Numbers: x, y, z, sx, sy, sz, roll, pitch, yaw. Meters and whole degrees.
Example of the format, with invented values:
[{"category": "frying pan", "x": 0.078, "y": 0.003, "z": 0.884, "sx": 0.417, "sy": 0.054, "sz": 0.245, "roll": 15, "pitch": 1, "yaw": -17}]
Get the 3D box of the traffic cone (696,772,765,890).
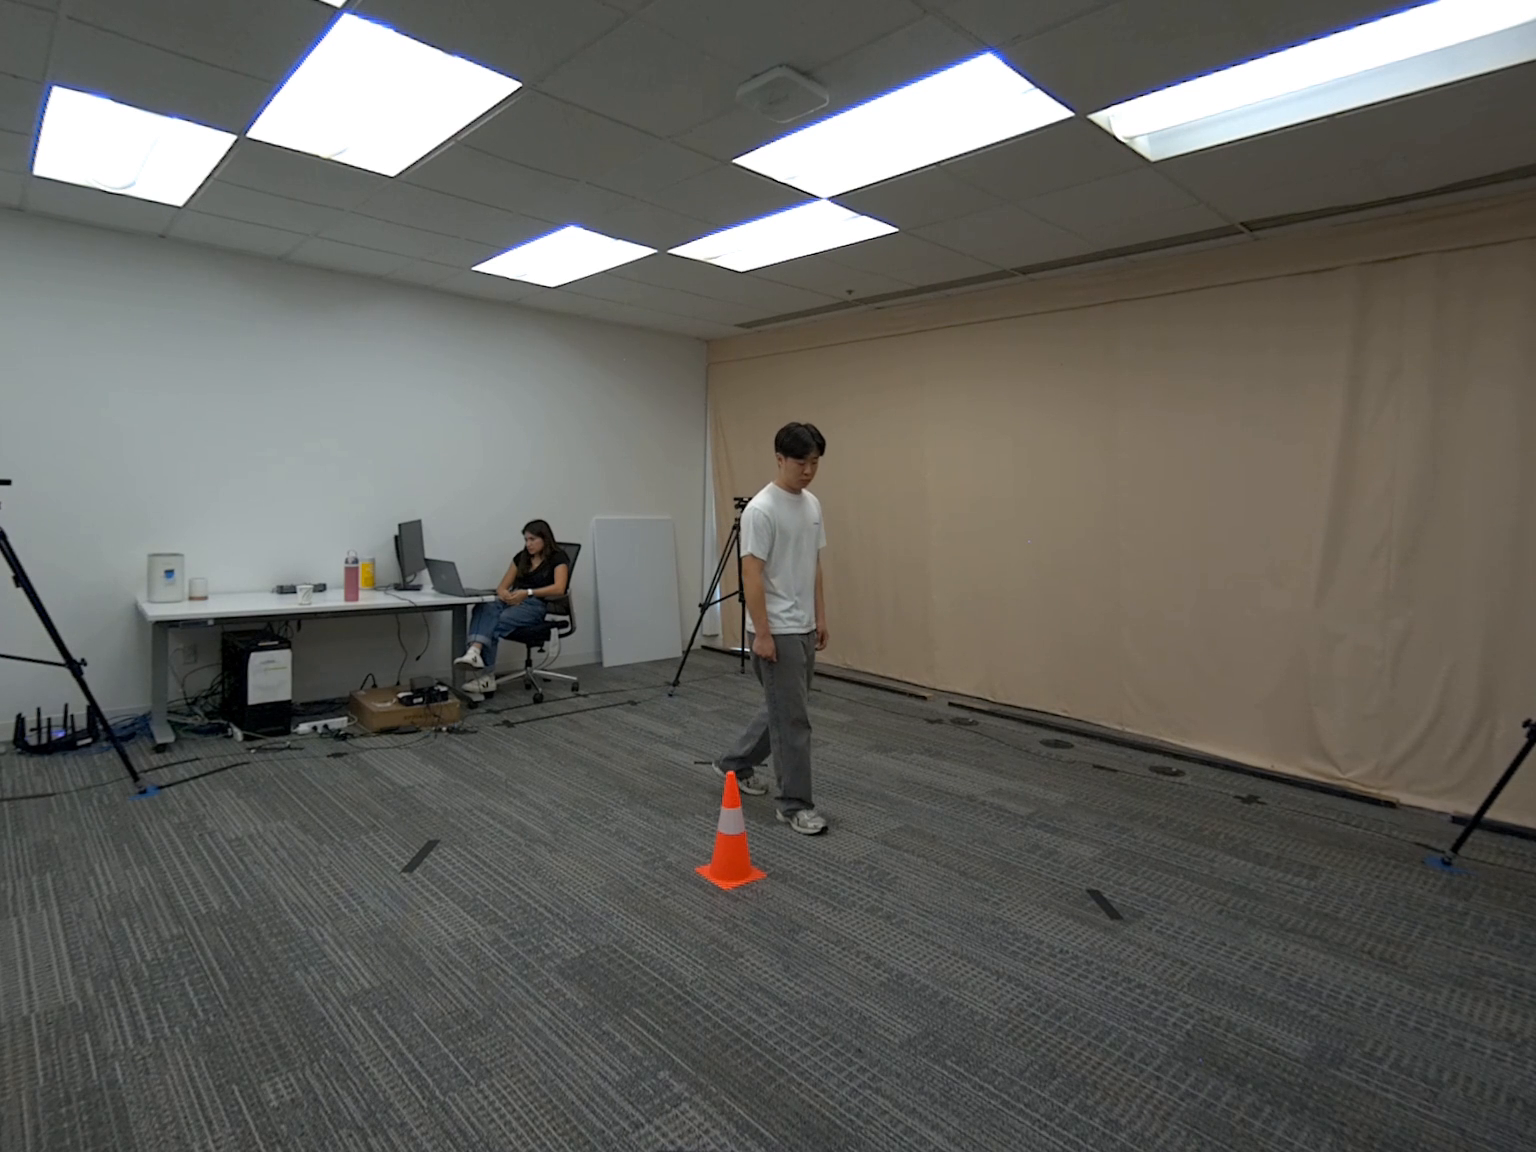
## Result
[{"category": "traffic cone", "x": -0.146, "y": 0.924, "z": 3.113, "sx": 0.199, "sy": 0.382, "sz": 0.210, "roll": -3, "pitch": 6, "yaw": -41}]
